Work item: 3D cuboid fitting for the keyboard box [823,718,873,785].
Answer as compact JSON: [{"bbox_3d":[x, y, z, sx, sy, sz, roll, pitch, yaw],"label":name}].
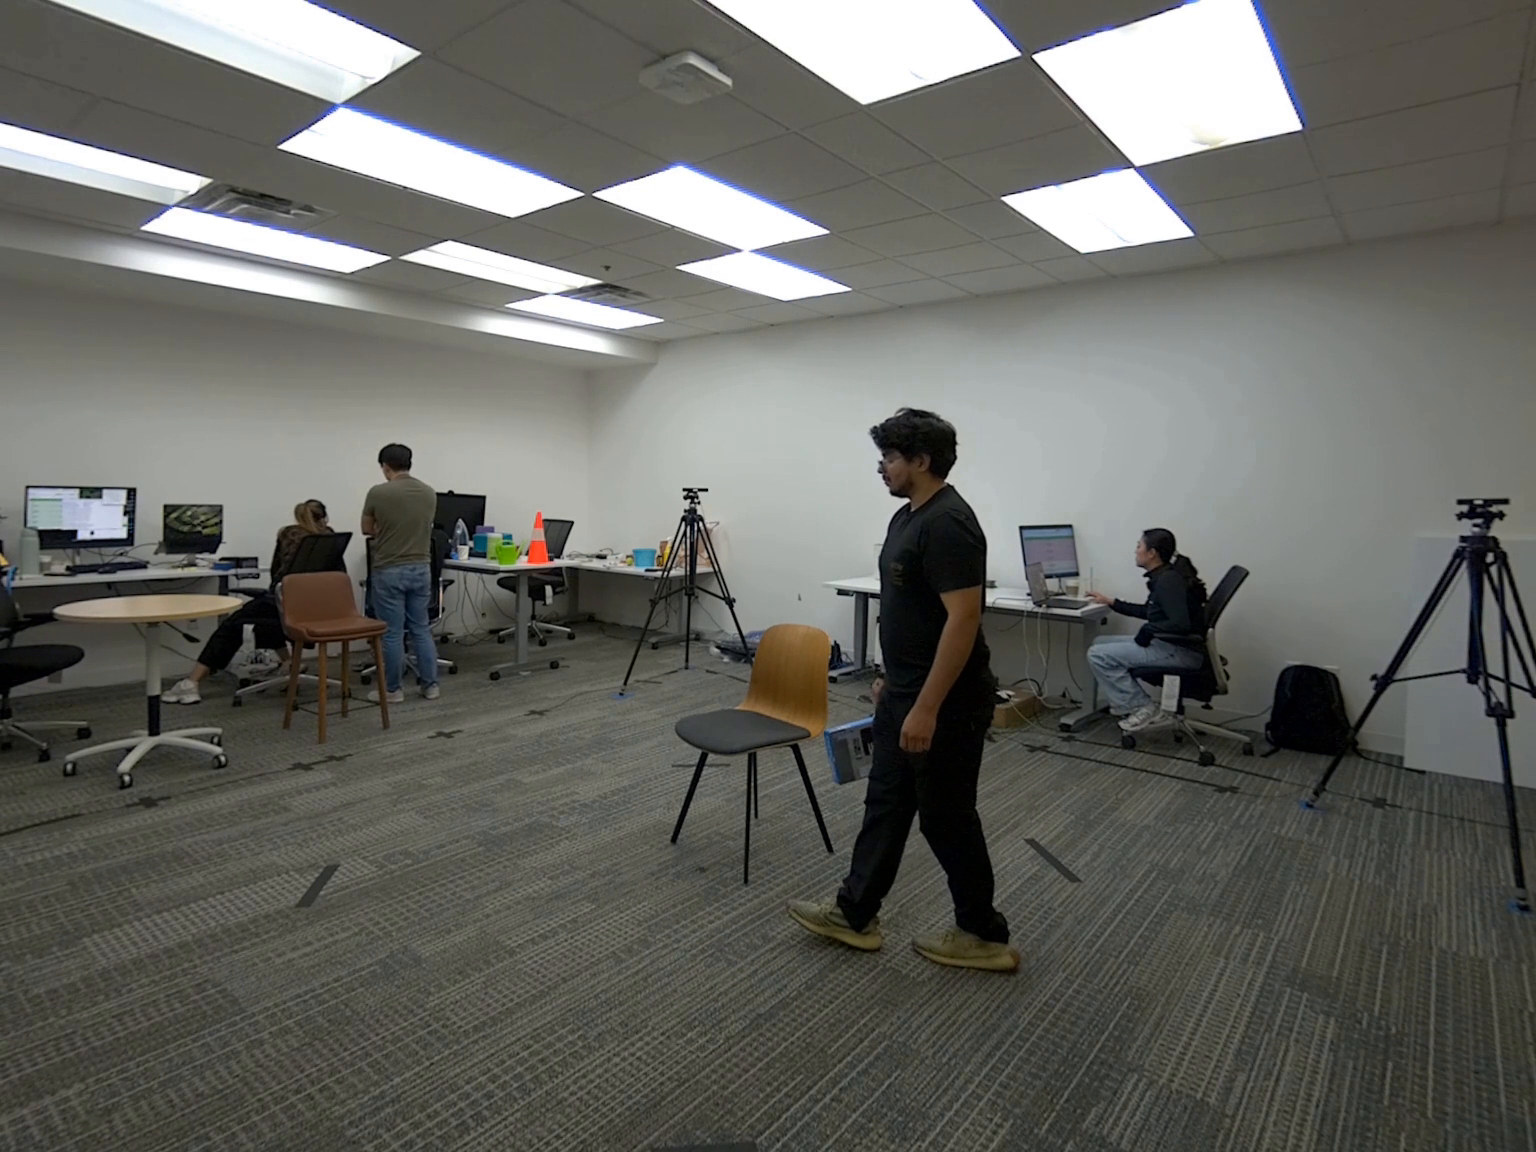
[{"bbox_3d":[0.400,0.536,2.798,0.432,0.176,0.059,-10,-2,-12],"label":"keyboard box"}]
